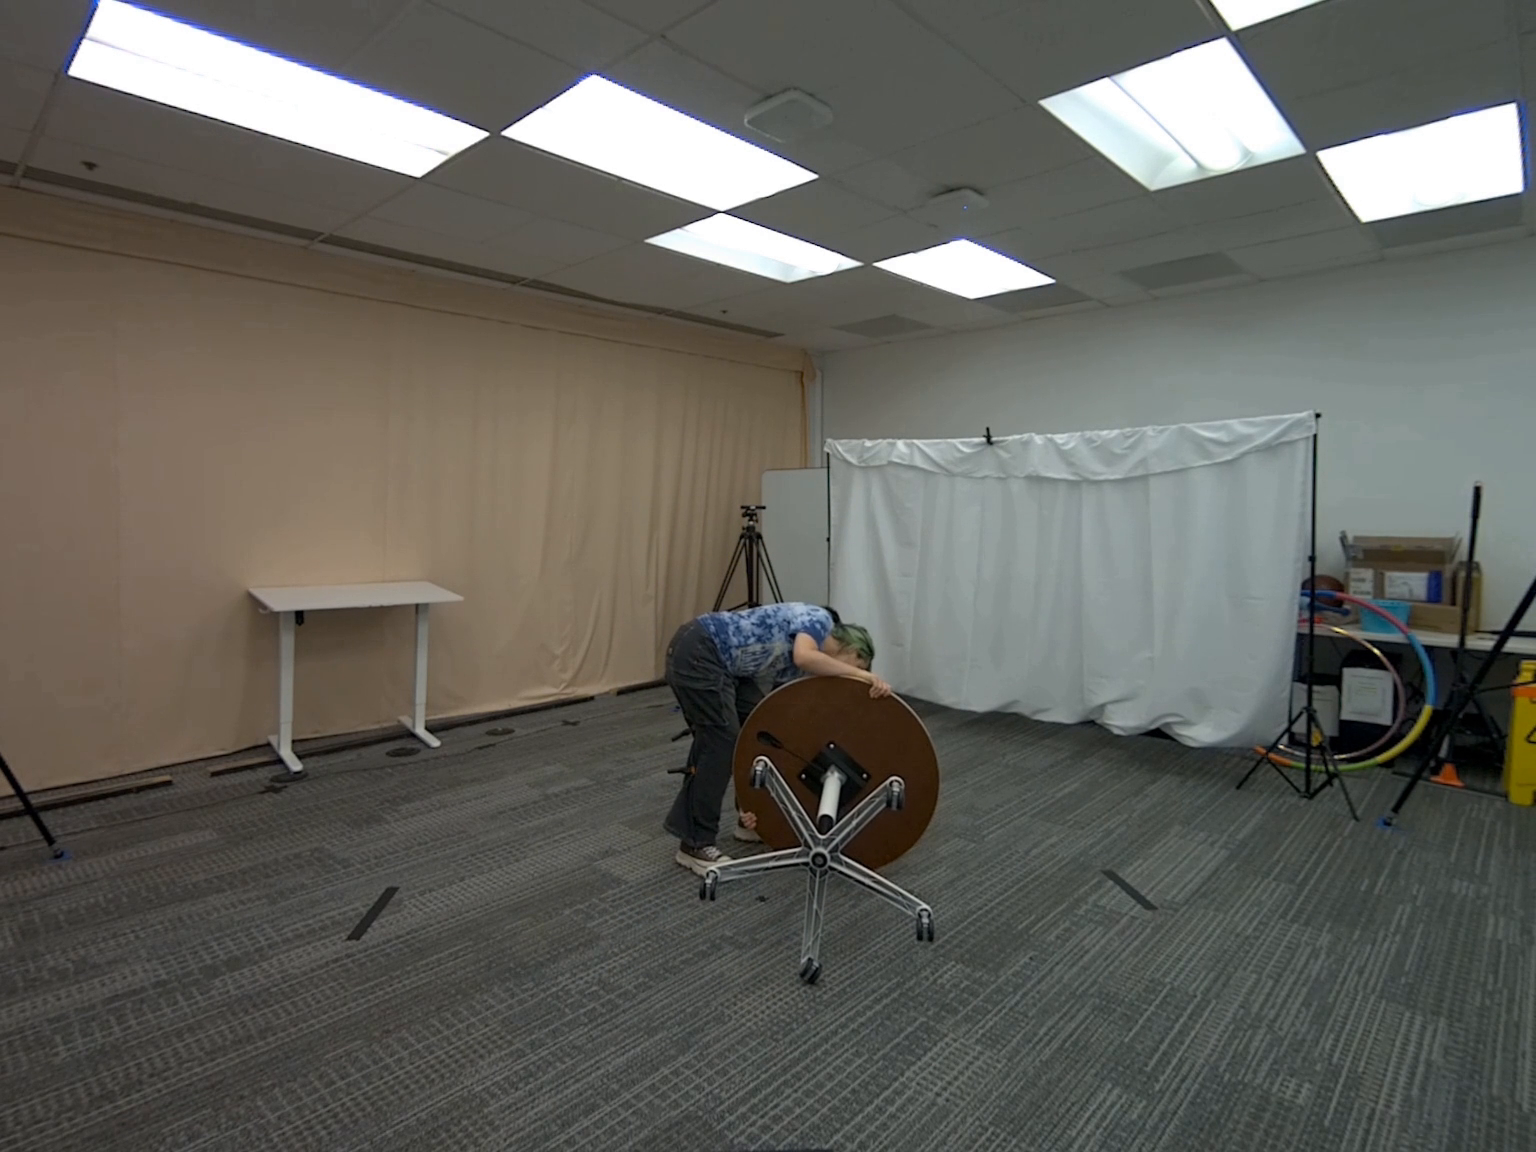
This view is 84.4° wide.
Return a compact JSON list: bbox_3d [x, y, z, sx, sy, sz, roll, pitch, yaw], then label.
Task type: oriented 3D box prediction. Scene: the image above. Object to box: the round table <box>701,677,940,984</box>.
[{"bbox_3d":[0.209,0.812,2.771,0.771,0.760,0.790,1,7,8],"label":"round table"}]
